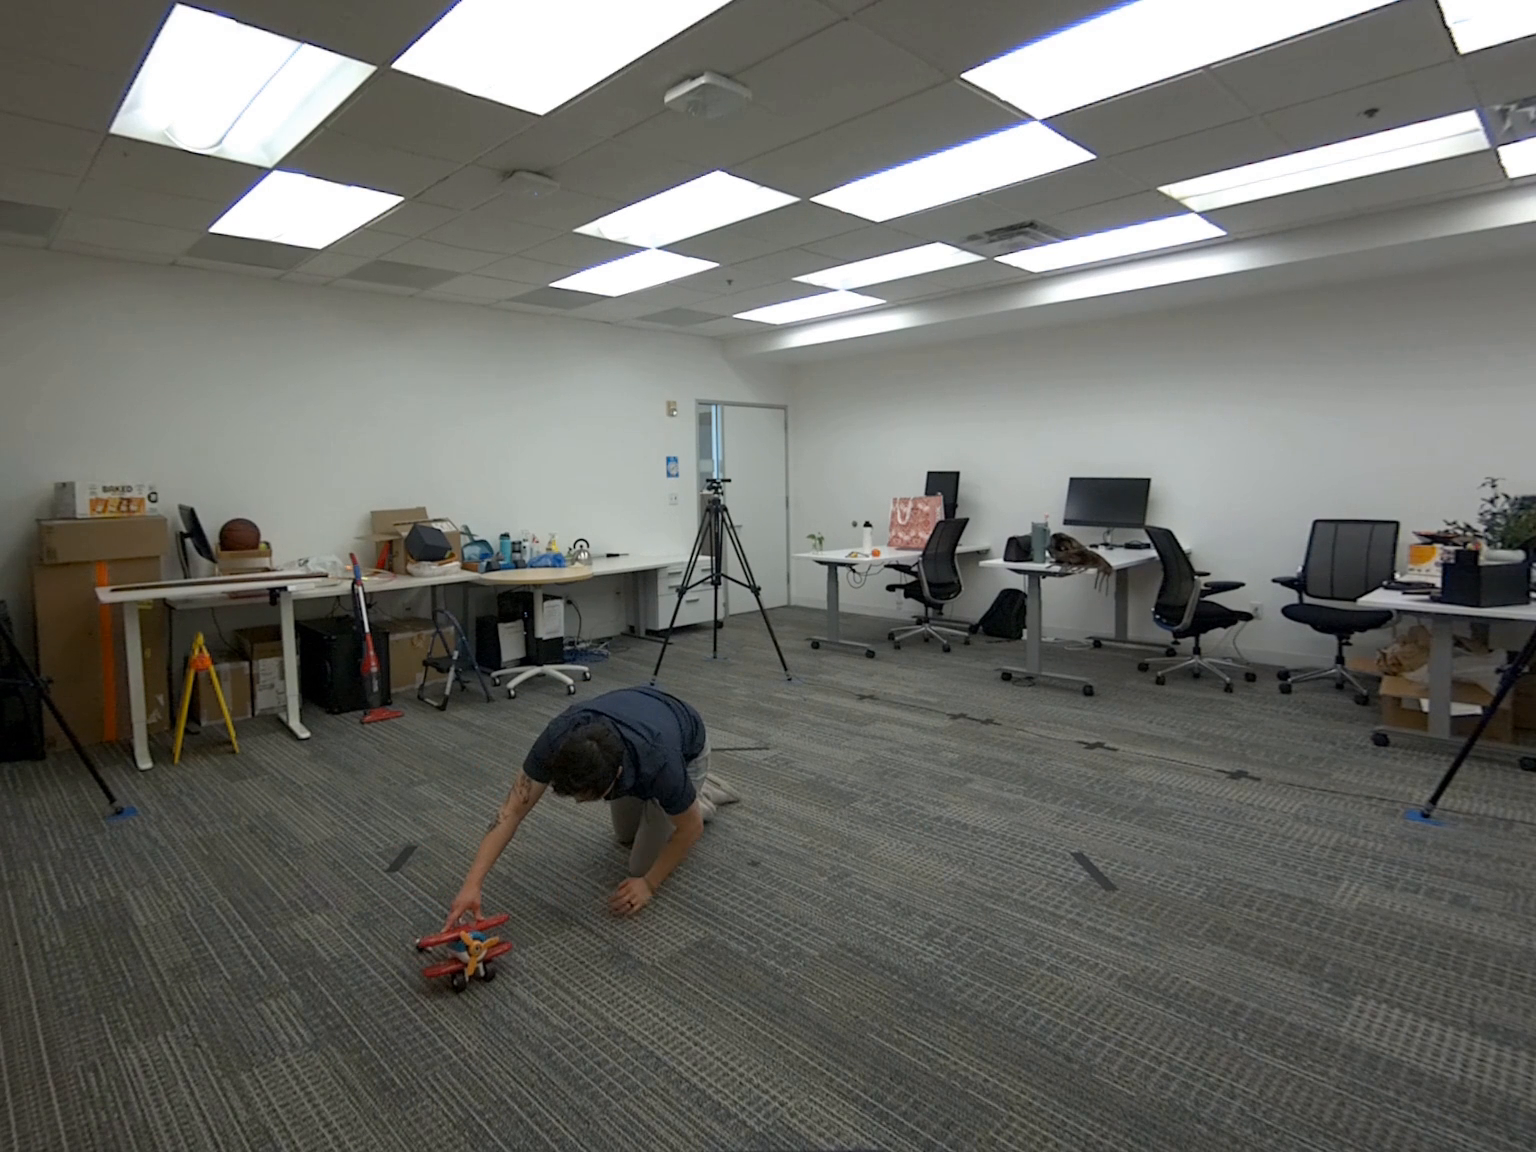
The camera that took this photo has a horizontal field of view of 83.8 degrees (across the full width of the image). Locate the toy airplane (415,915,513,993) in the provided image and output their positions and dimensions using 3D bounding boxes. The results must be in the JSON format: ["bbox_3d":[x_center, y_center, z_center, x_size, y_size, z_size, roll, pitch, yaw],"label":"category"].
[{"bbox_3d":[-0.891,1.069,2.441,0.265,0.156,0.246,2,5,24],"label":"toy airplane"}]
